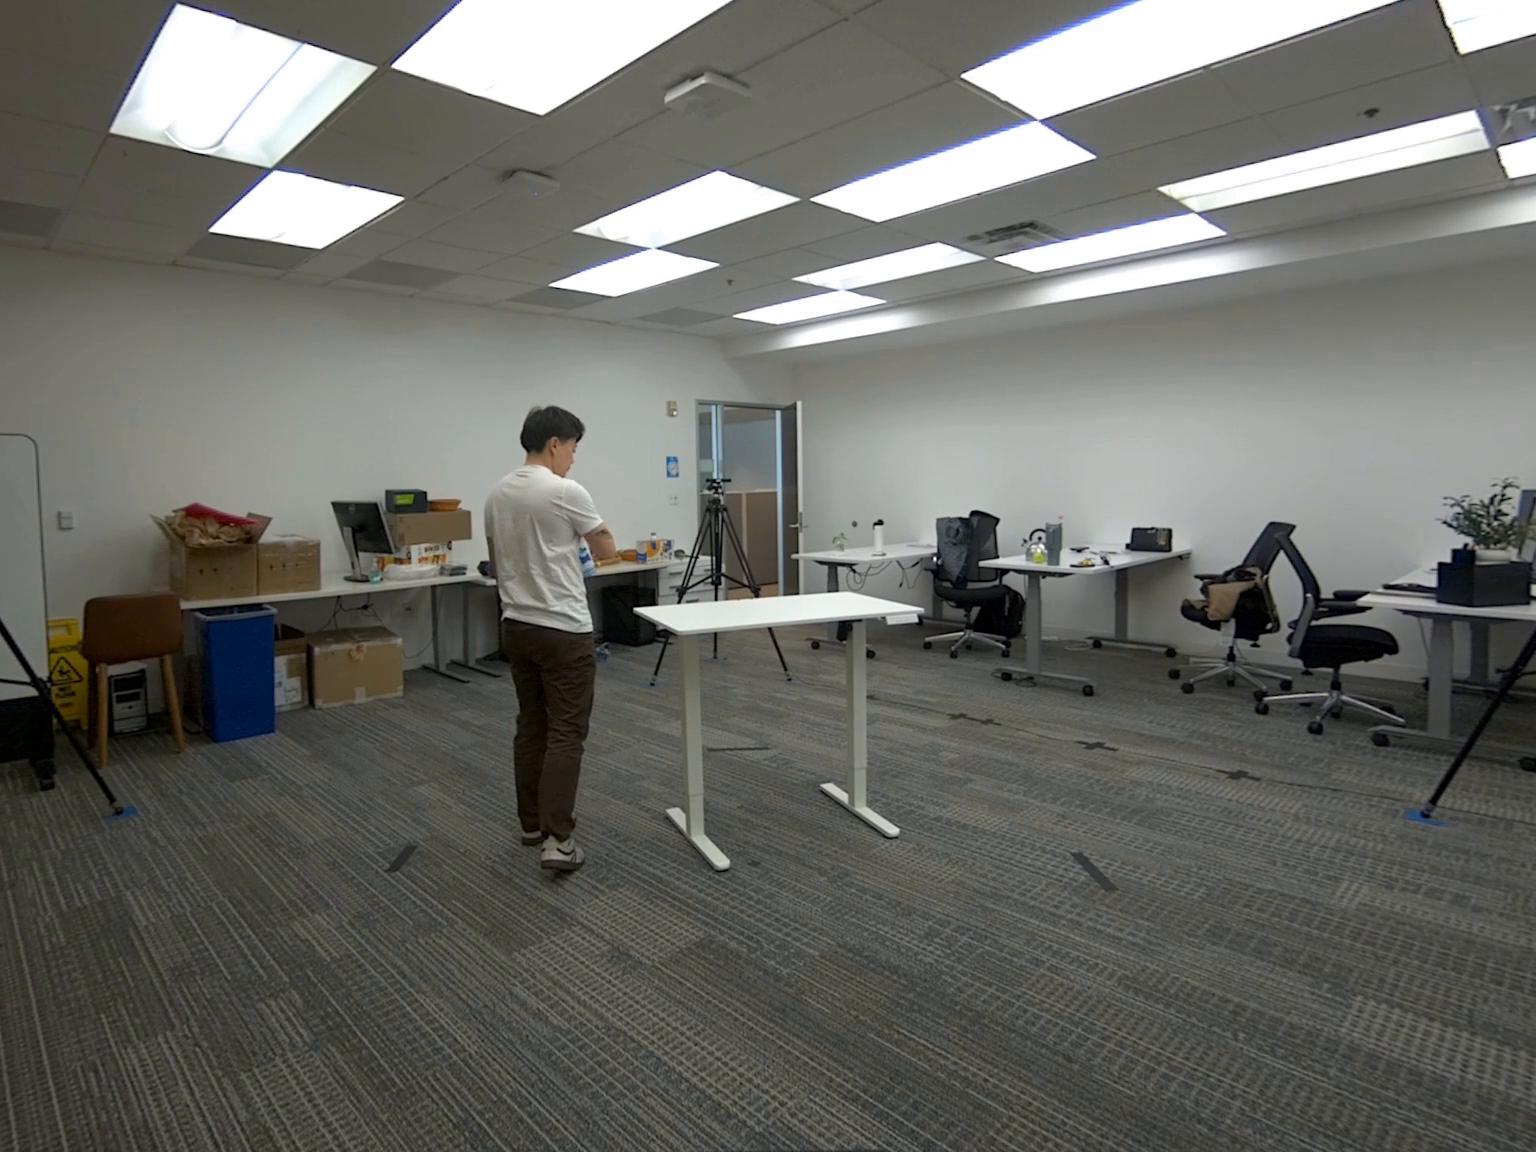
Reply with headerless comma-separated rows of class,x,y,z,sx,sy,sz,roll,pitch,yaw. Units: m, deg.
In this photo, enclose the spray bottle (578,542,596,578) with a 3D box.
spray bottle,-0.778,-0.130,3.518,0.089,0.292,0.090,-6,19,29
